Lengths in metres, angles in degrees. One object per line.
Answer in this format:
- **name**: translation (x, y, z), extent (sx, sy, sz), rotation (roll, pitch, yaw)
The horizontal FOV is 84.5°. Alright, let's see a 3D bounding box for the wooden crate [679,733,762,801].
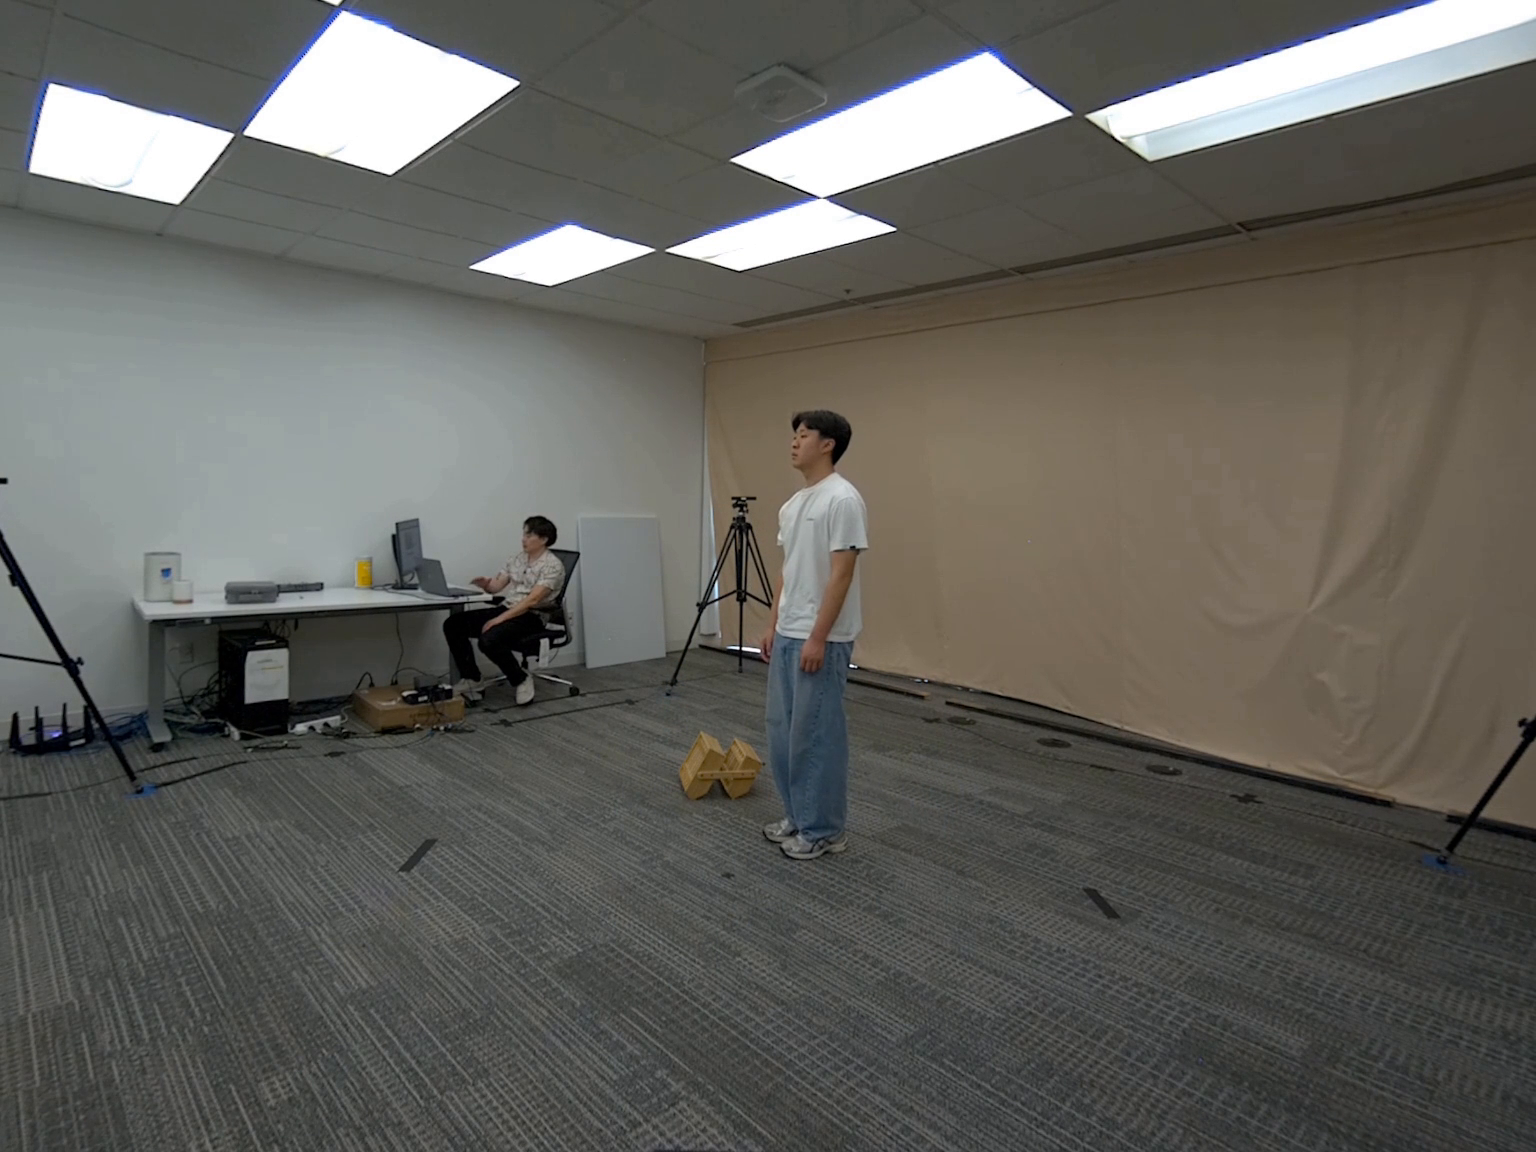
- **wooden crate**: translation (-0.248, 0.933, 4.048), extent (0.270, 0.302, 0.328), rotation (29, -2, -12)
